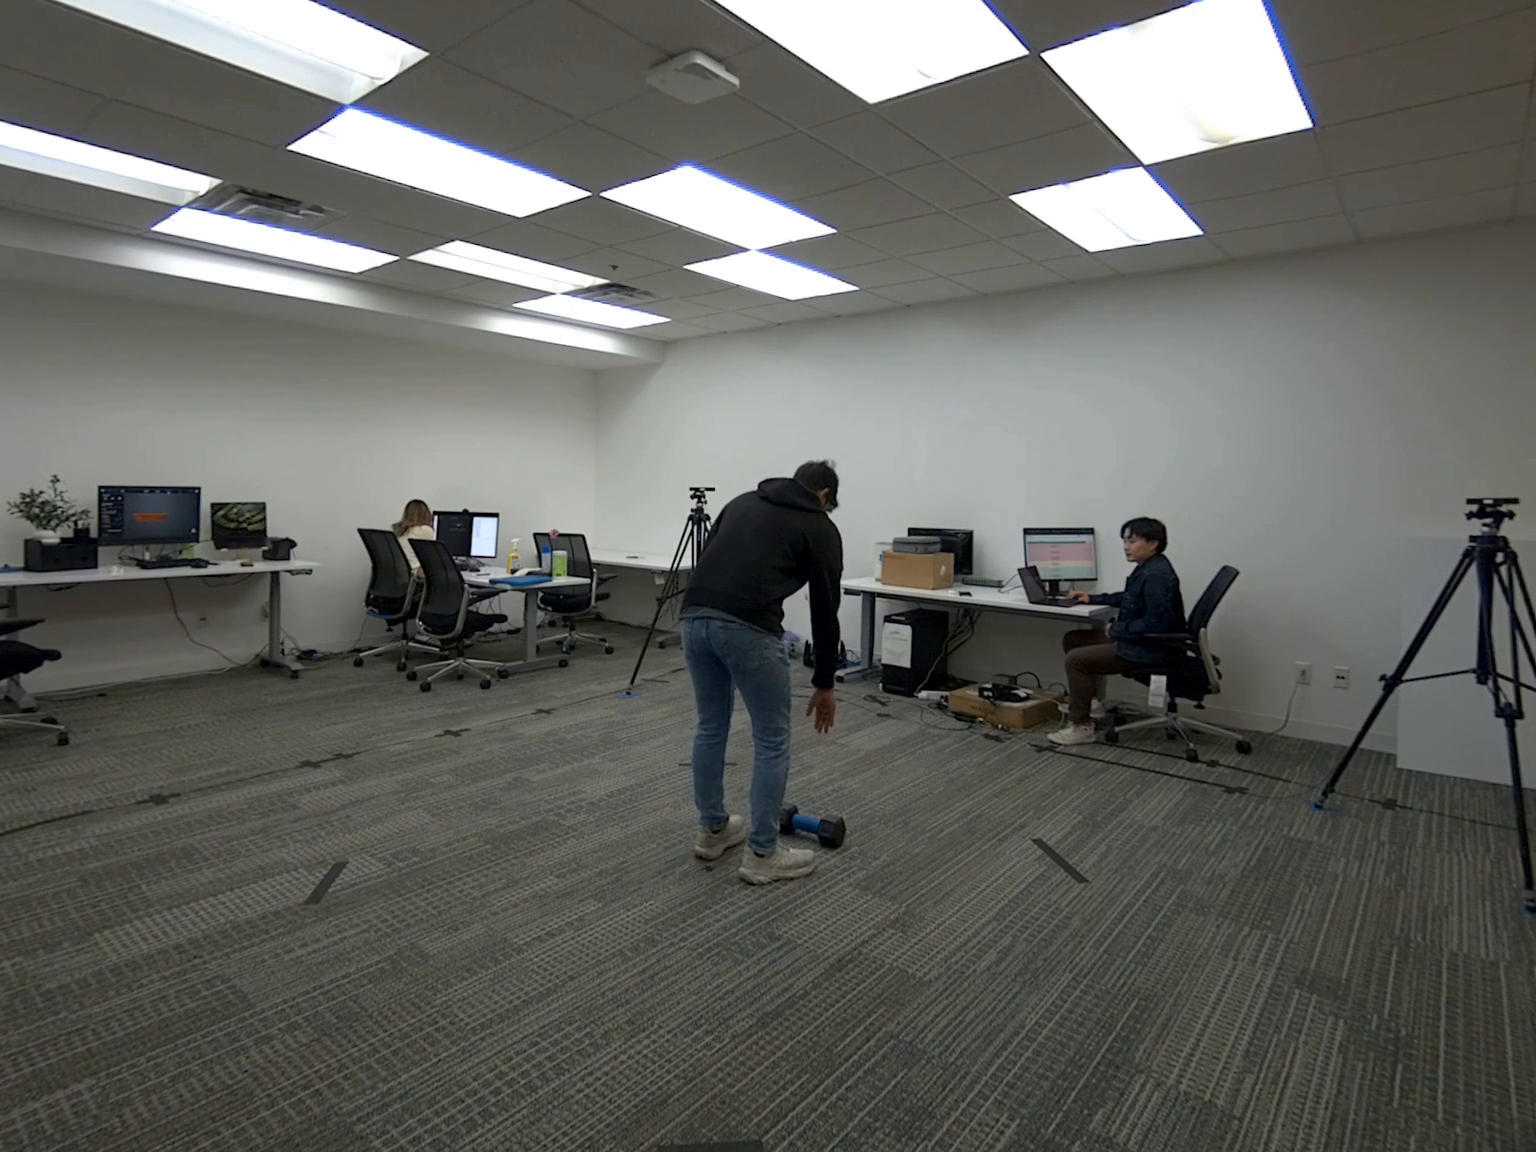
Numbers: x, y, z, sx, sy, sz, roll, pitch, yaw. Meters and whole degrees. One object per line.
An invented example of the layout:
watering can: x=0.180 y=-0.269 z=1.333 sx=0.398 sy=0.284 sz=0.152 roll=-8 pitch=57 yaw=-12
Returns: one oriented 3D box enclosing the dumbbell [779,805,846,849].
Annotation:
dumbbell: x=0.152 y=0.991 z=3.404 sx=0.303 sy=0.108 sz=0.120 roll=4 pitch=7 yaw=34
